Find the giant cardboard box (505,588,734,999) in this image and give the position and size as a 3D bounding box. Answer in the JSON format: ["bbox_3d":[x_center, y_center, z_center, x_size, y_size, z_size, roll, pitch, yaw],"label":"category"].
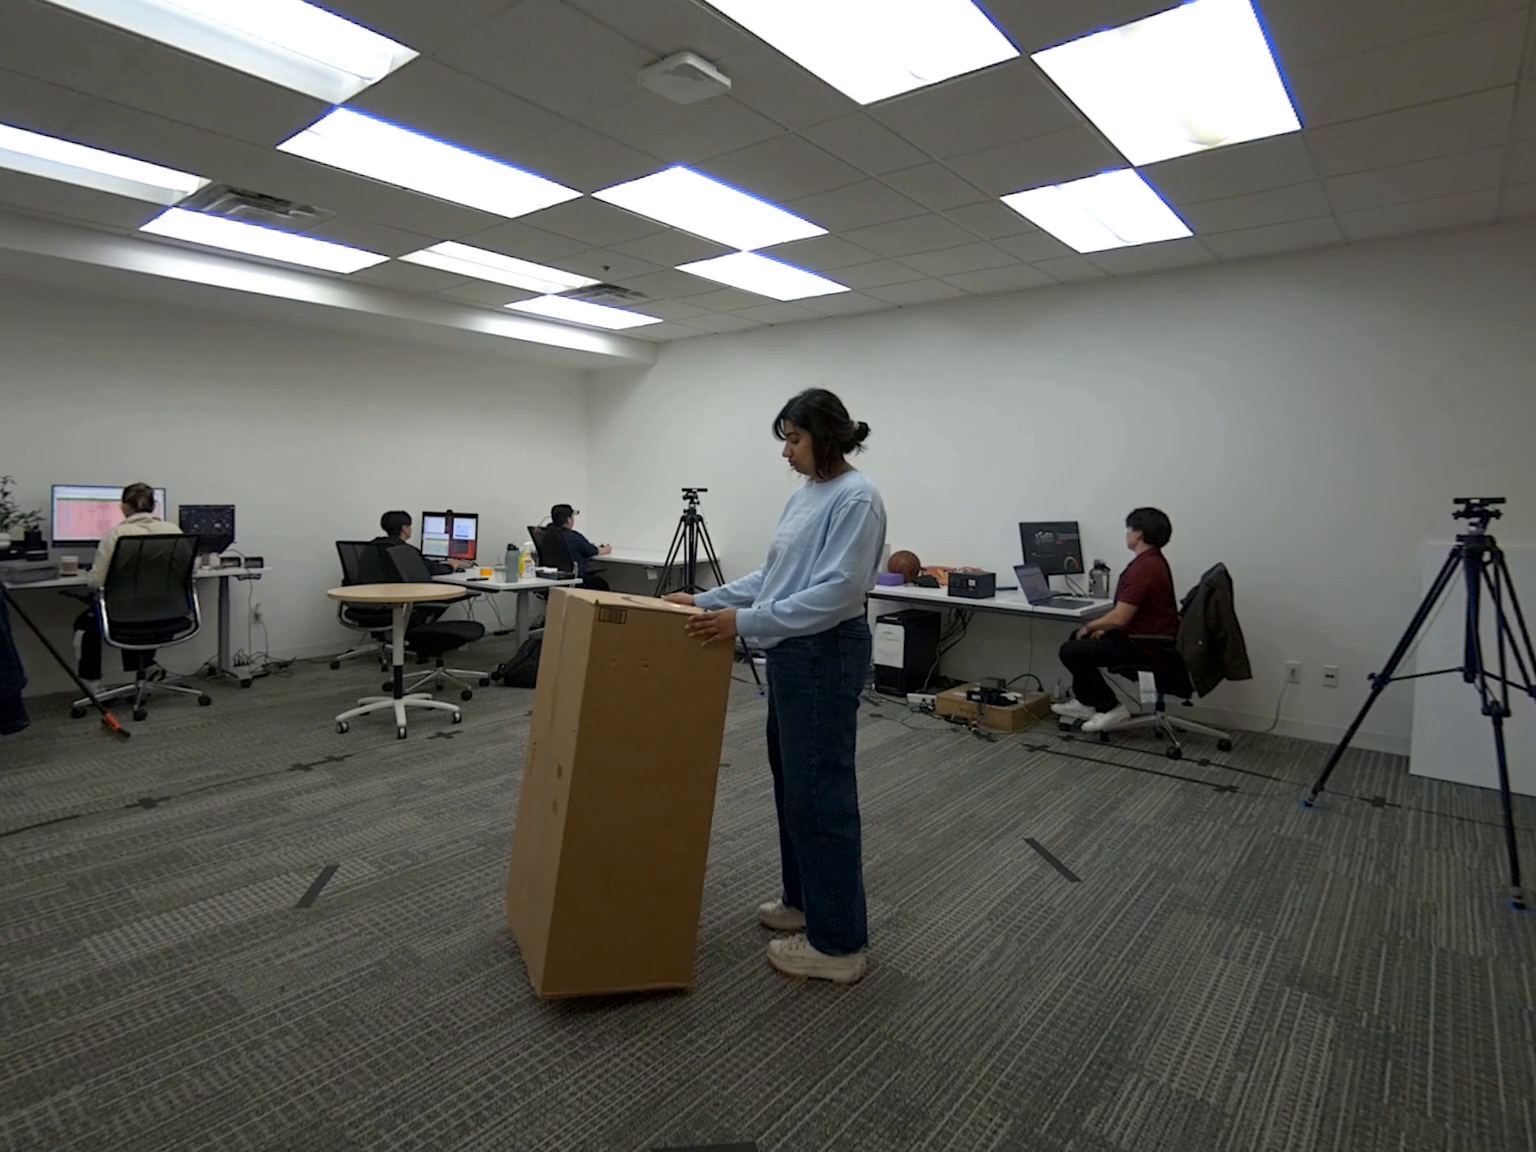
[{"bbox_3d":[-0.466,0.580,2.538,0.435,1.029,0.598,8,-2,-25],"label":"giant cardboard box"}]
